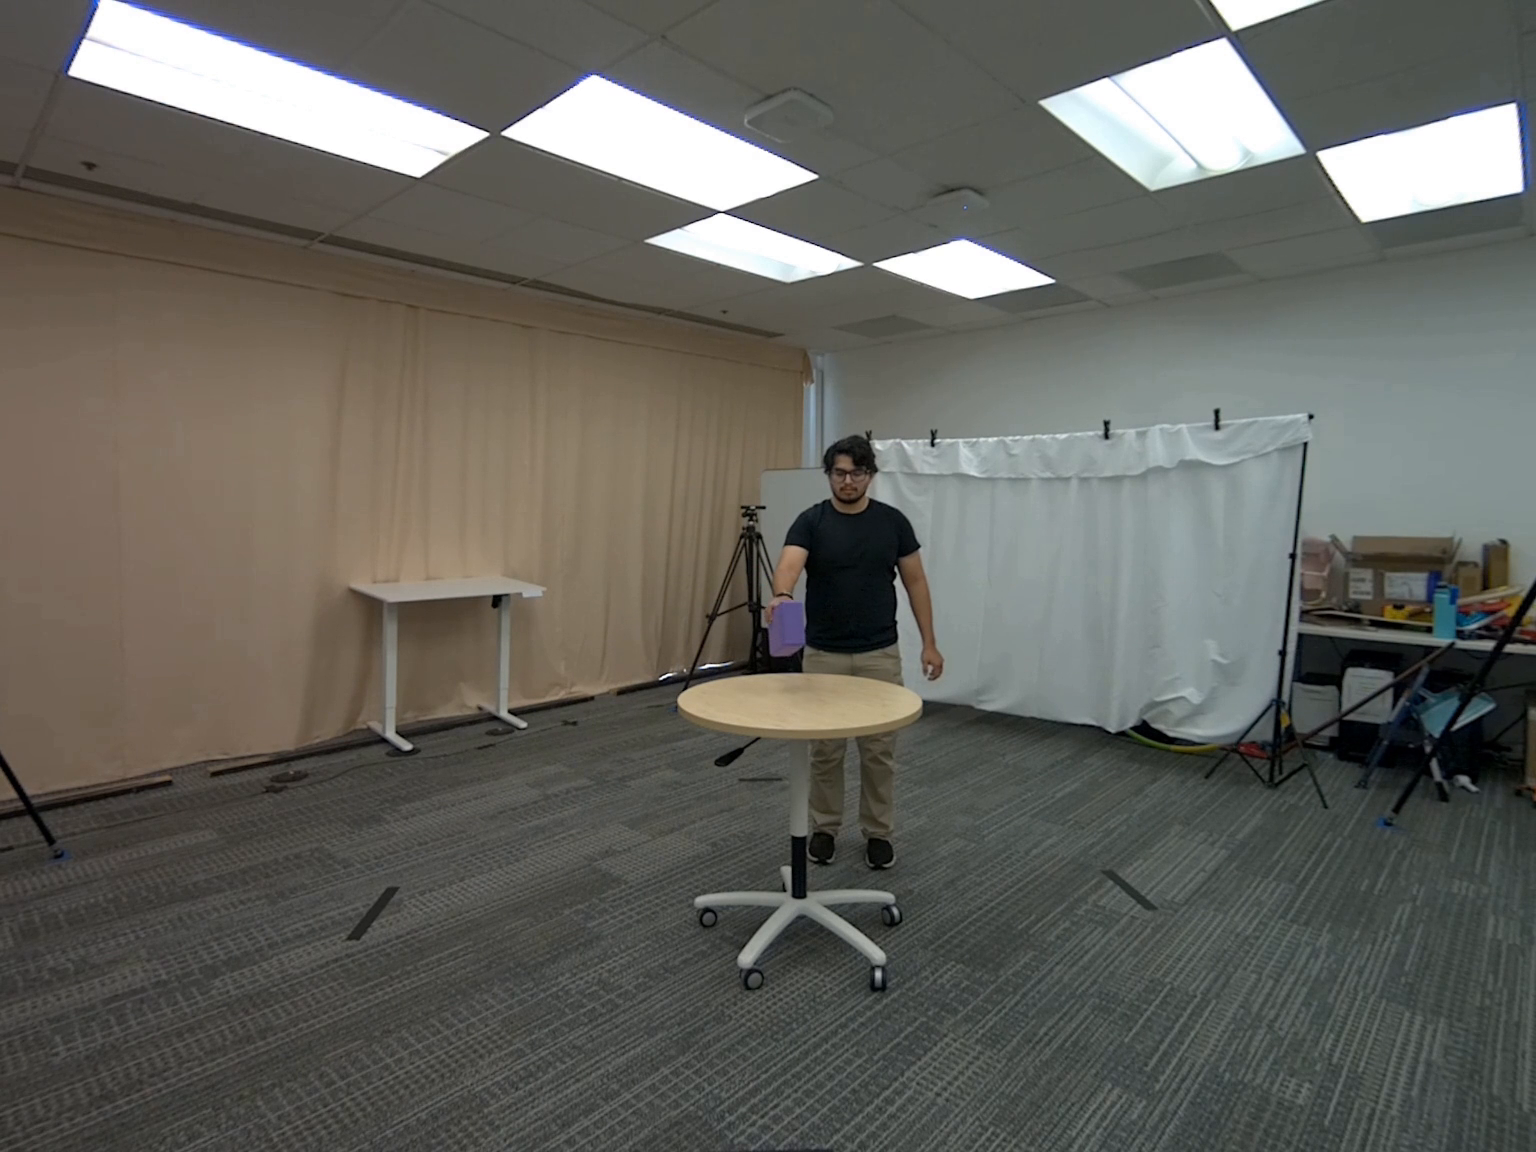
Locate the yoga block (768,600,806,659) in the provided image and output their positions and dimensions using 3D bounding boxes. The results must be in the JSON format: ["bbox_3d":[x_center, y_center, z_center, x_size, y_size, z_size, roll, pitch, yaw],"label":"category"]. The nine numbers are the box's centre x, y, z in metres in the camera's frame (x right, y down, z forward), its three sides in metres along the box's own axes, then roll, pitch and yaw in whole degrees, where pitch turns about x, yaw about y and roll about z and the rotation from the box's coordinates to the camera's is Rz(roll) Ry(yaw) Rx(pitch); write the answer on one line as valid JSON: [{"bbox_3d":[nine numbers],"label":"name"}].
[{"bbox_3d":[0.065,0.177,2.750,0.076,0.150,0.229,-1,-12,-10],"label":"yoga block"}]
